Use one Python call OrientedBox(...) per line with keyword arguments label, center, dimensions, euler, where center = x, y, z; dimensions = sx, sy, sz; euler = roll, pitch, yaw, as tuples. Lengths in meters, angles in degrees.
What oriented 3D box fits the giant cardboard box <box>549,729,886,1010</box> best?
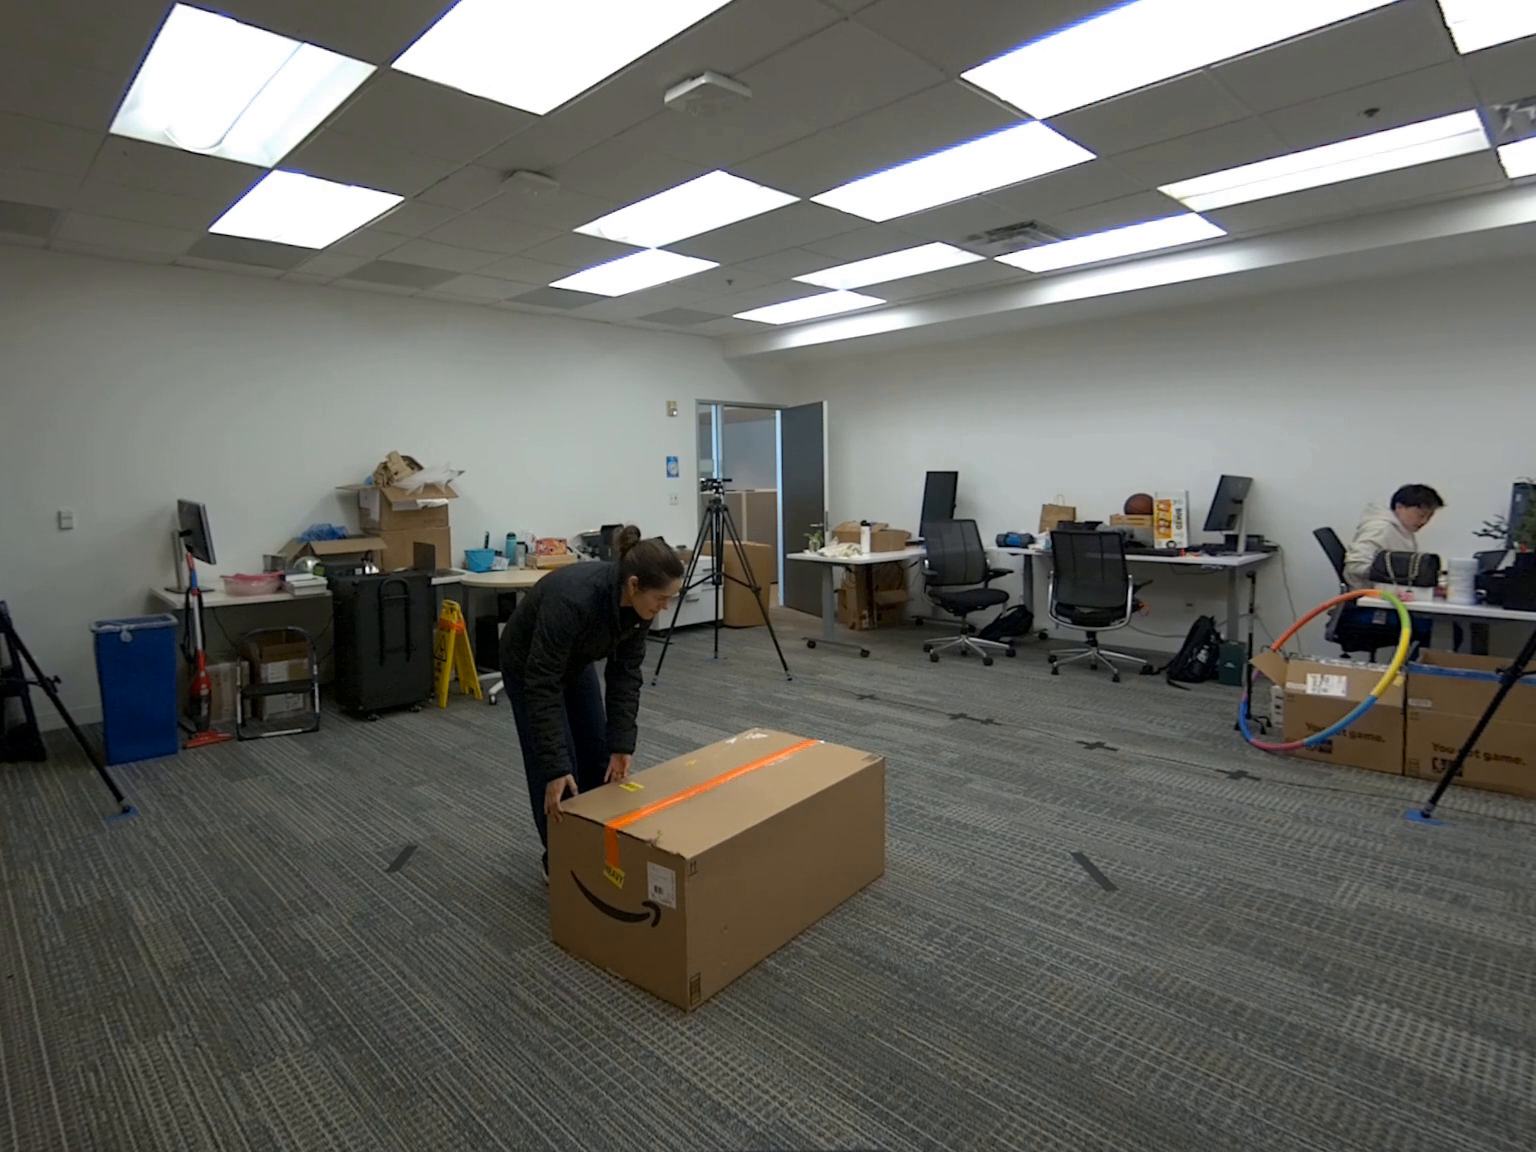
OrientedBox(label="giant cardboard box", center=(-0.125, 0.866, 2.799), dimensions=(0.595, 0.424, 1.000), euler=(3, 7, 38))
